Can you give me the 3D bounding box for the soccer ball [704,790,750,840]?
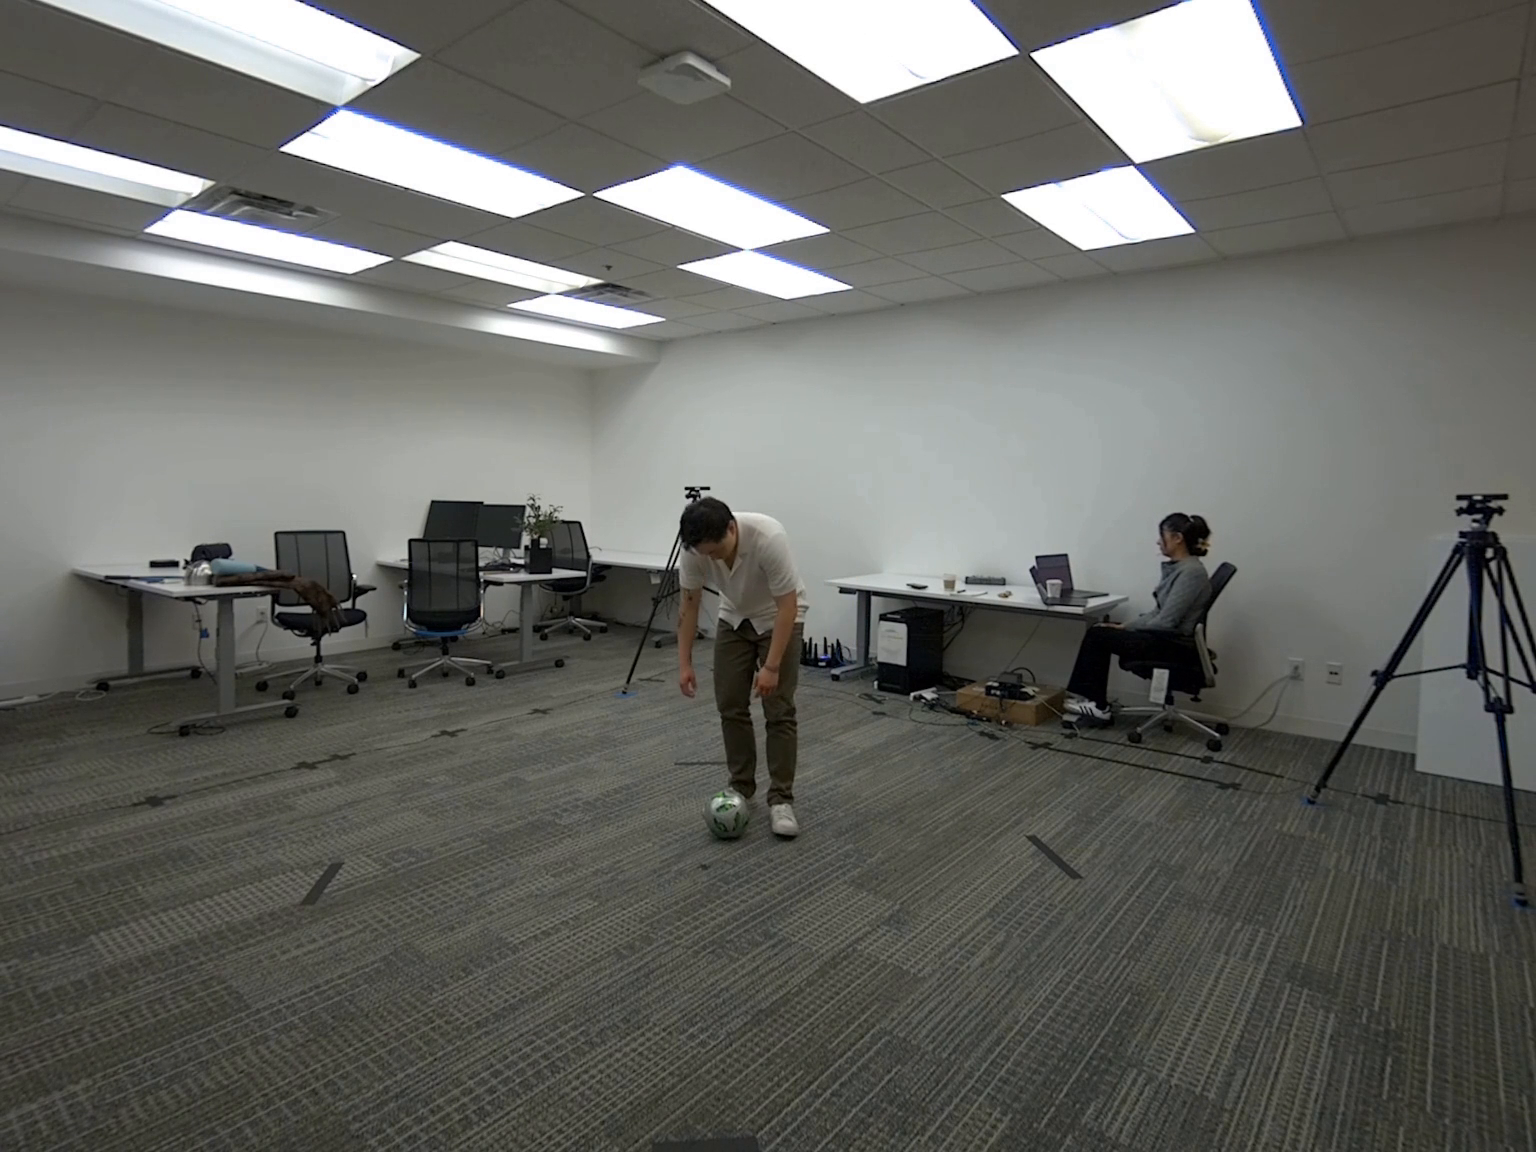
[{"bbox_3d":[-0.171,0.945,3.389,0.187,0.187,0.188,1,4,-2],"label":"soccer ball"}]
